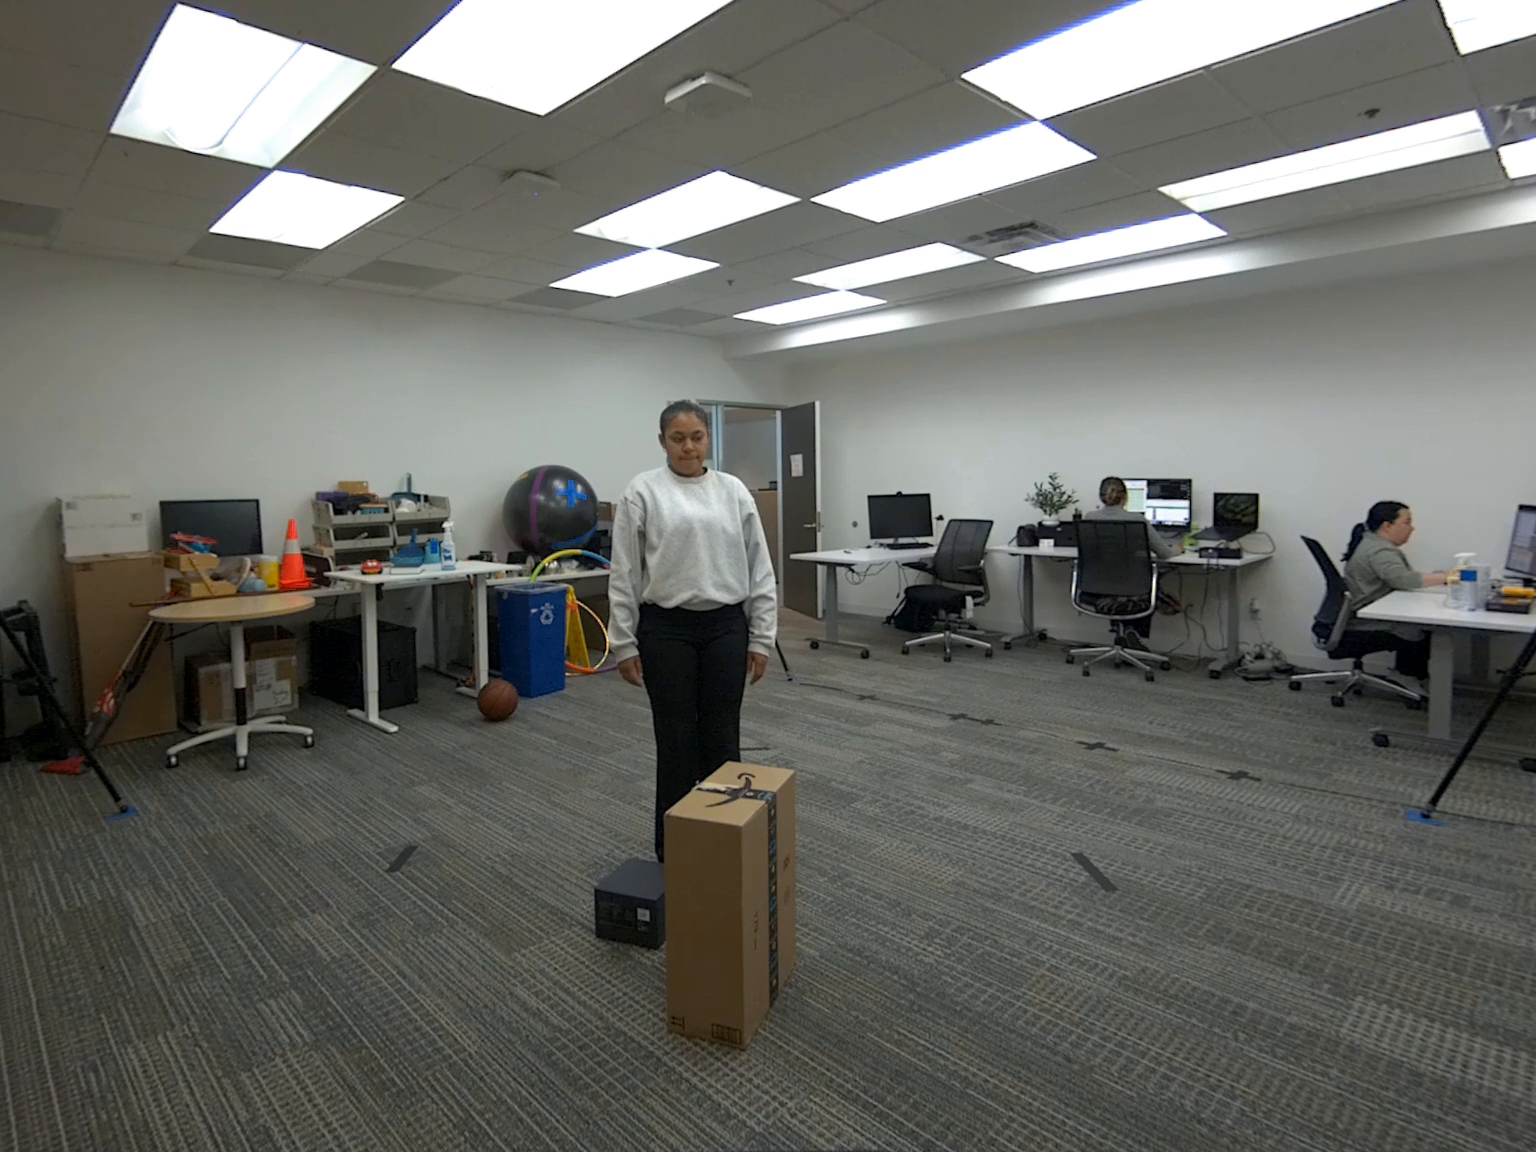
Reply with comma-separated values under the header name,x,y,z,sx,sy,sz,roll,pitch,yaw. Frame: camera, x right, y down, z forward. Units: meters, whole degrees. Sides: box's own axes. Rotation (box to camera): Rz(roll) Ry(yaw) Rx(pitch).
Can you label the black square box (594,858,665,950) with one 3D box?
name,x,y,z,sx,sy,sz,roll,pitch,yaw
black square box,-0.390,1.021,2.680,0.221,0.155,0.225,1,7,20
